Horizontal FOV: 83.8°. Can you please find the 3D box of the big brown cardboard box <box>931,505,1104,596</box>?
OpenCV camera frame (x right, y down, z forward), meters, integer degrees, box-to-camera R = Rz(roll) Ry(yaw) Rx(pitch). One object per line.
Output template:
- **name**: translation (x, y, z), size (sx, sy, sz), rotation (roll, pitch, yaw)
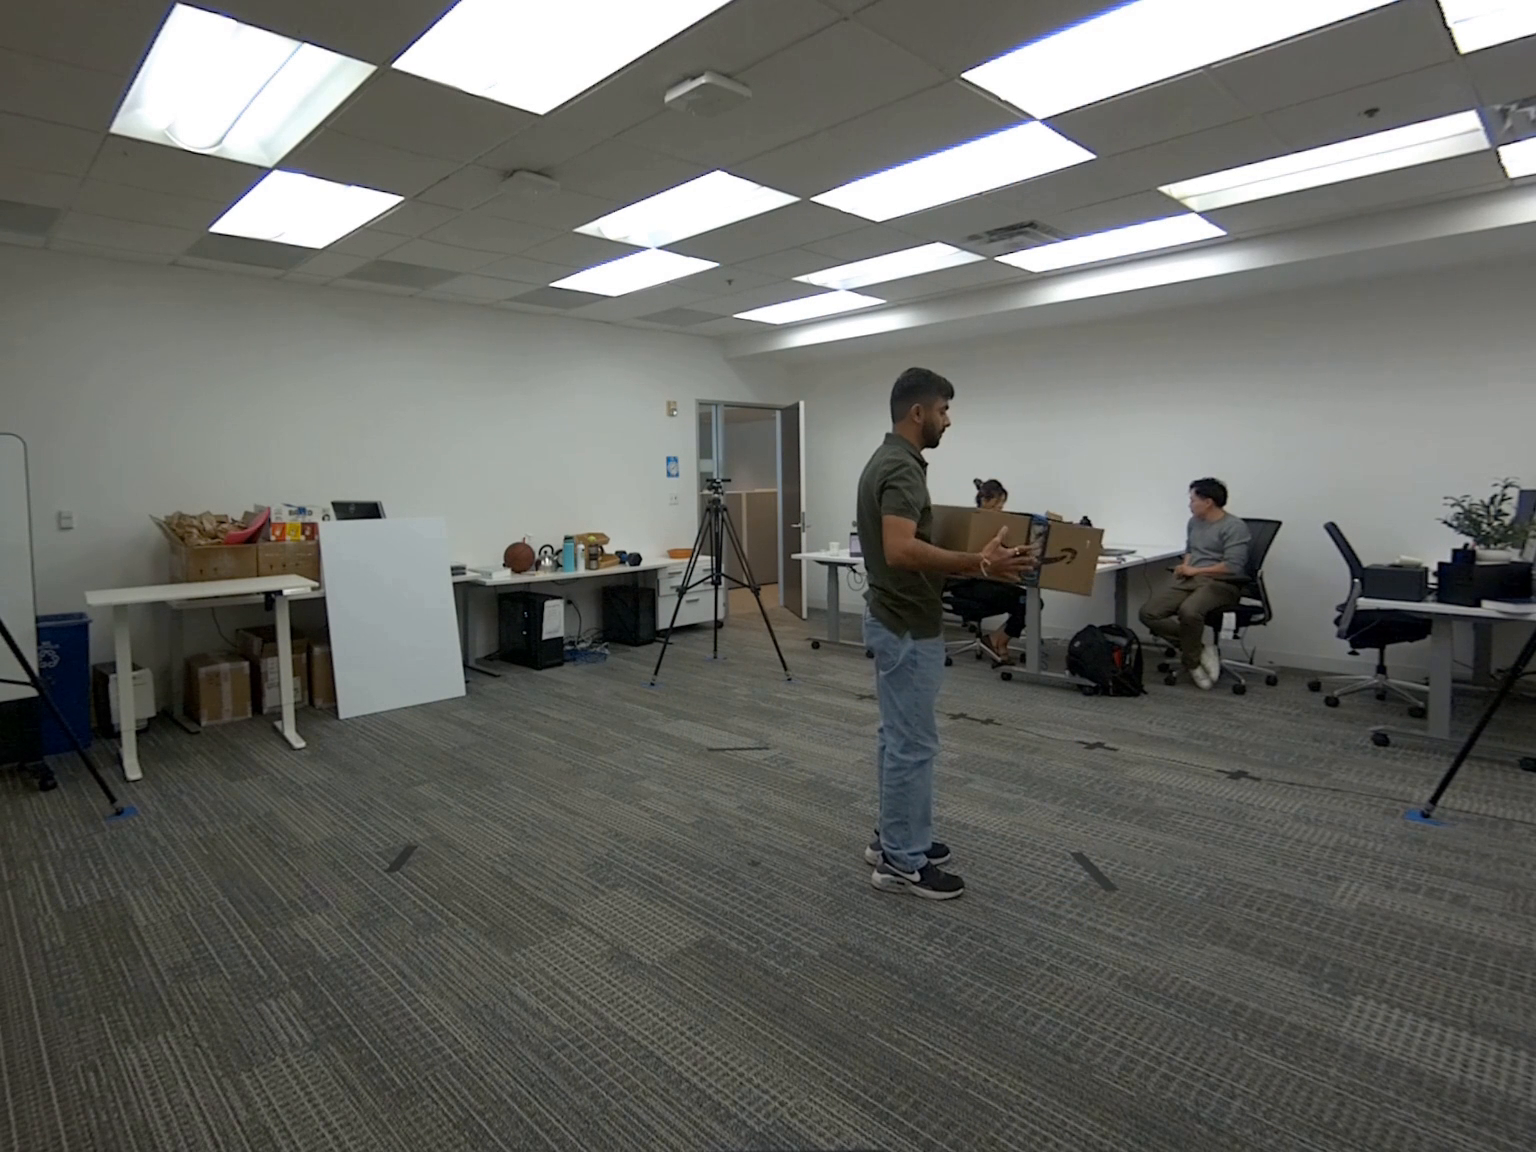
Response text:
- **big brown cardboard box**: translation (0.797, -0.110, 2.923), size (0.416, 0.232, 0.593), rotation (8, 4, -4)
